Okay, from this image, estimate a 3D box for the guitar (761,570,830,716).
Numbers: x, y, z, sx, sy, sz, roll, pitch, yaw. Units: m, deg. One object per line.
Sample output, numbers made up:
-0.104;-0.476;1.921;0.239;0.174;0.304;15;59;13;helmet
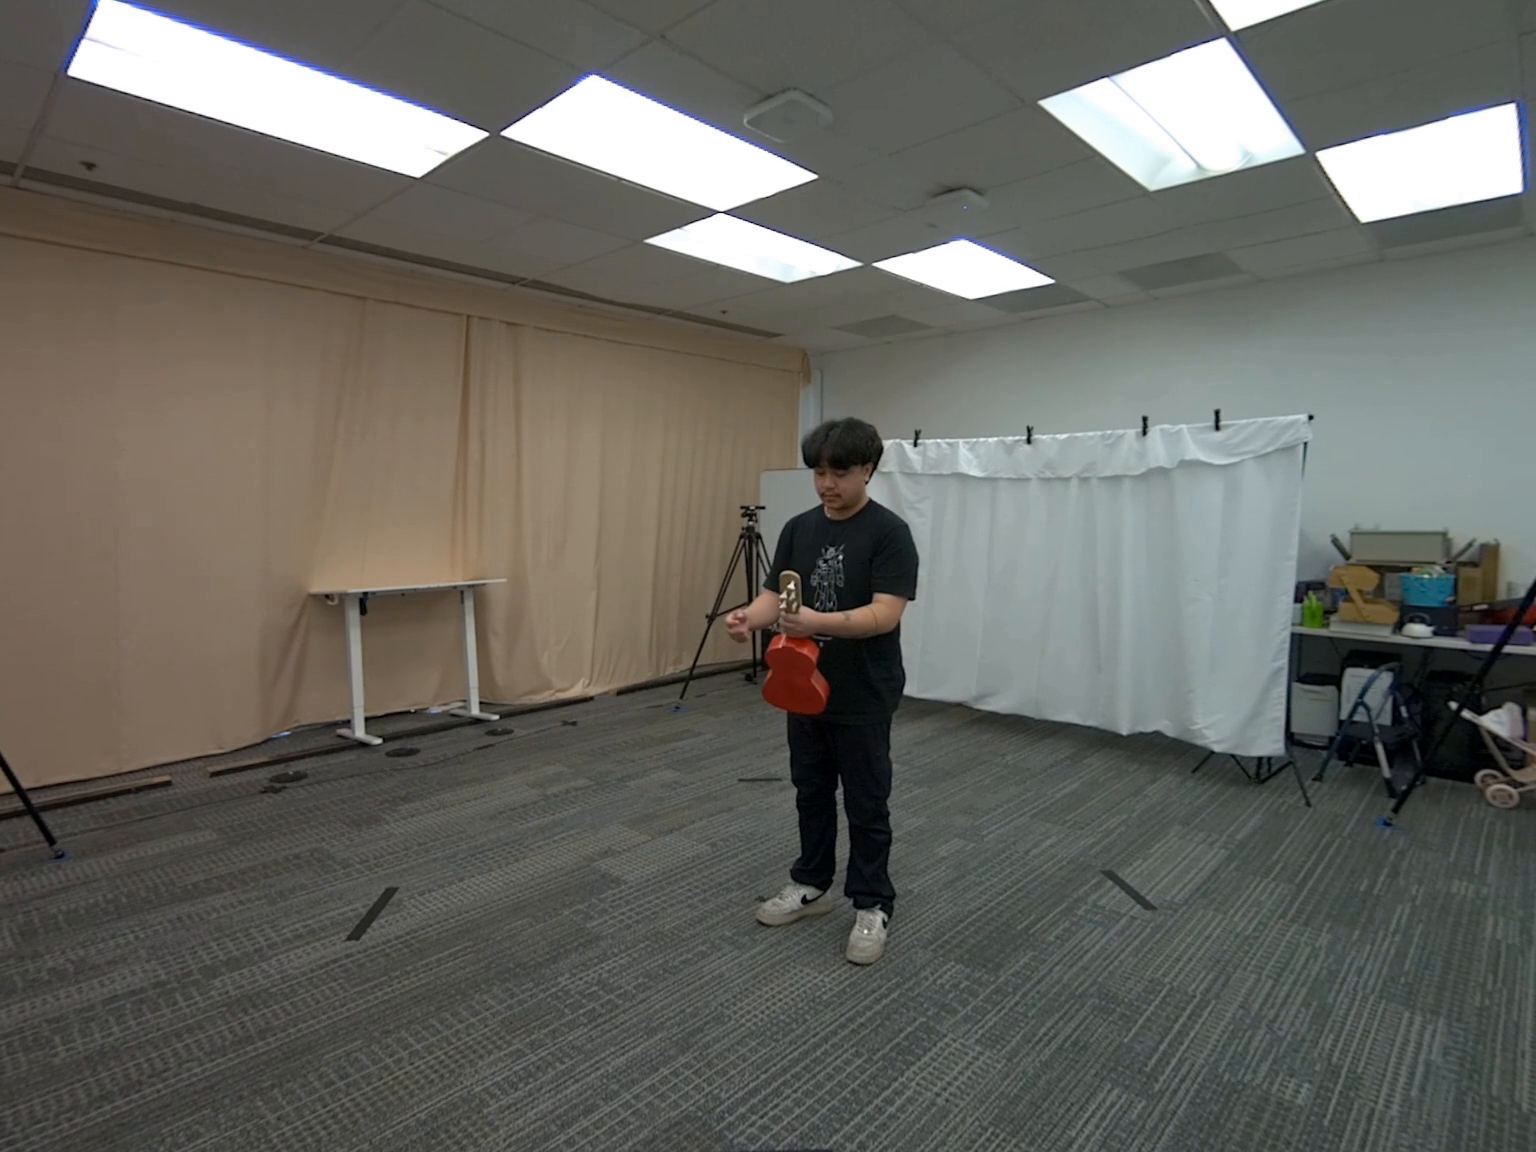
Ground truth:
0.051;0.197;2.412;0.197;0.486;0.071;2;38;20;guitar
